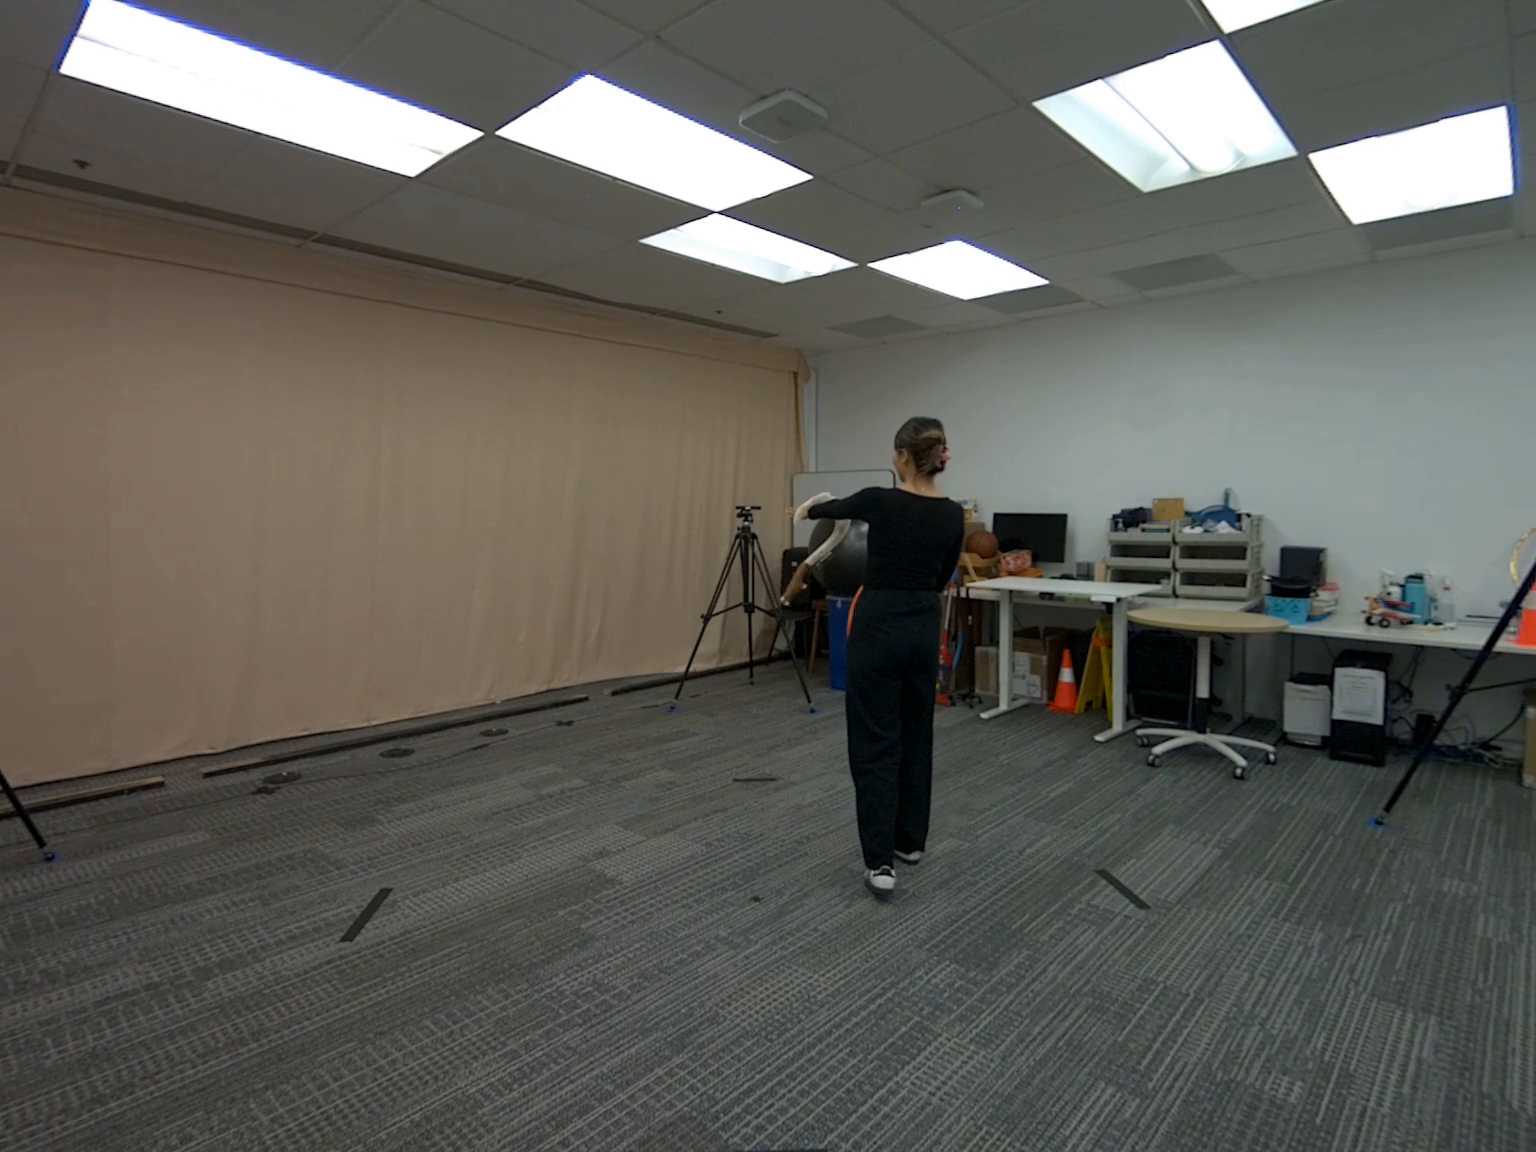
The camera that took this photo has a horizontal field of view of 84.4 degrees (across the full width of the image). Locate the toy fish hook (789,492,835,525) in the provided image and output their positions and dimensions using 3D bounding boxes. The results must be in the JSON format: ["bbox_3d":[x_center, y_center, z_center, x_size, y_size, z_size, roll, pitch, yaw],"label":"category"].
[{"bbox_3d":[0.170,-0.122,3.550,0.227,0.506,0.048,31,-5,10],"label":"toy fish hook"}]
